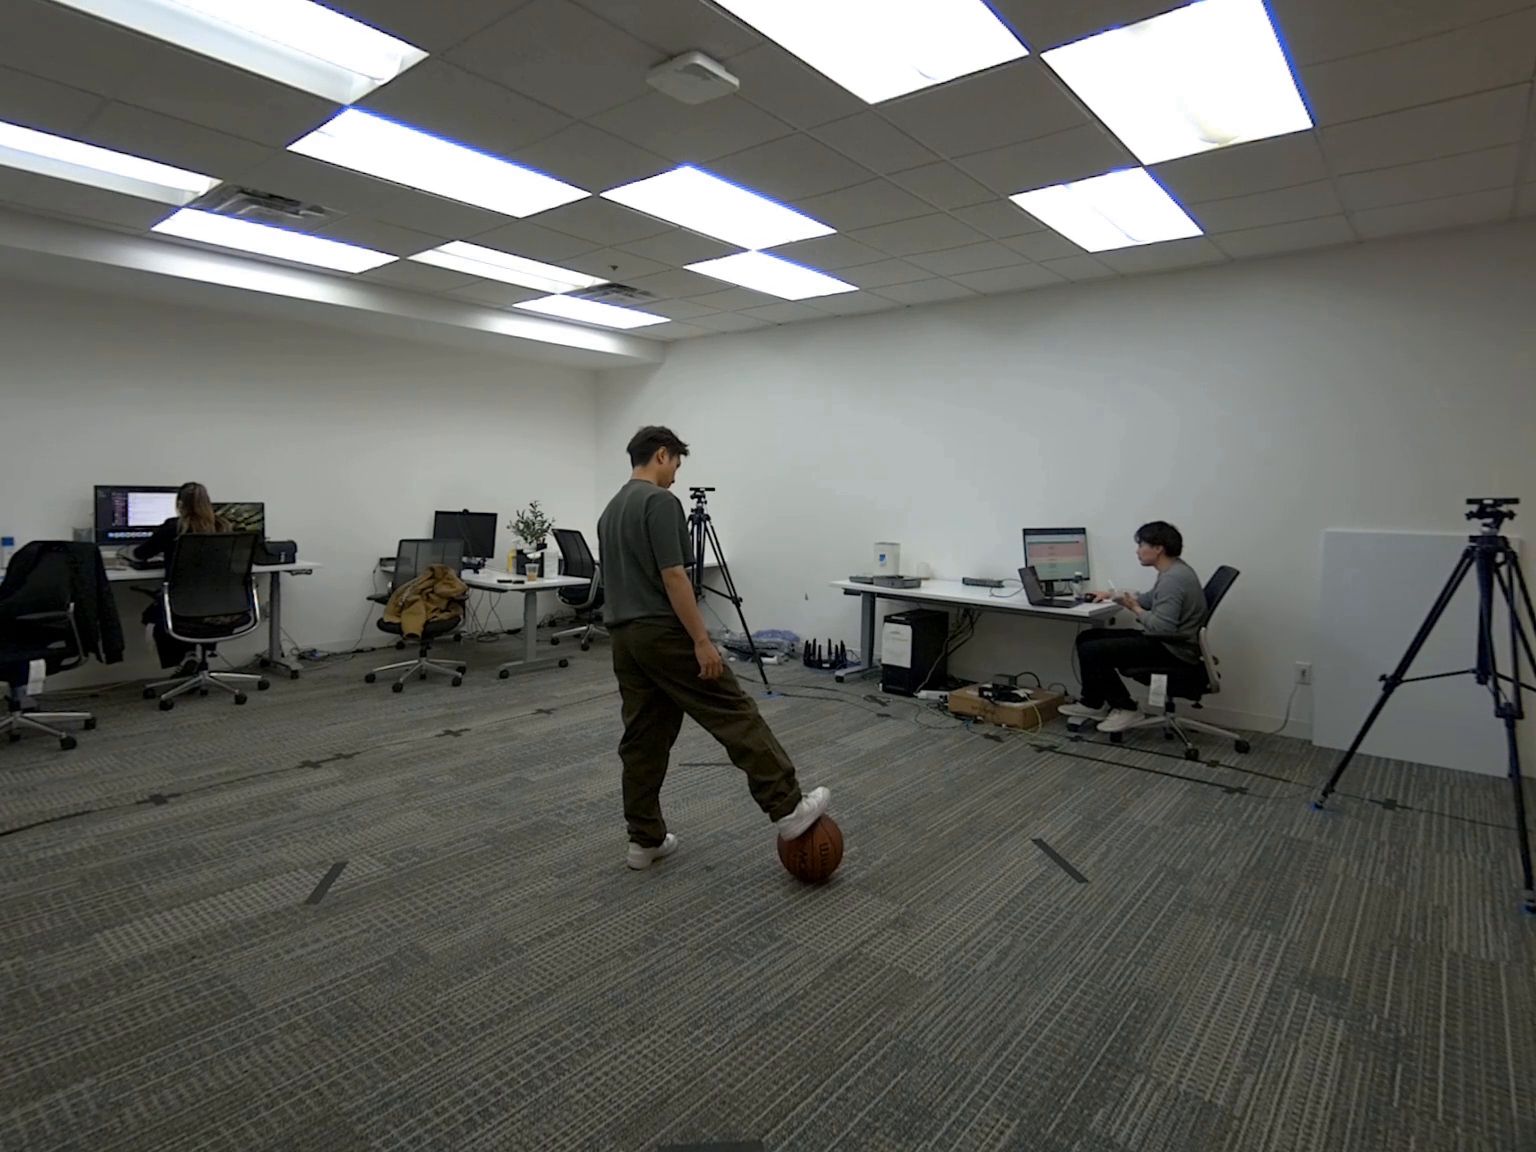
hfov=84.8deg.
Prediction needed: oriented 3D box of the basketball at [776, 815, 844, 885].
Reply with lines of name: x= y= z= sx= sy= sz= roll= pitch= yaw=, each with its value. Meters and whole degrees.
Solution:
basketball: x=0.147 y=0.960 z=3.051 sx=0.235 sy=0.235 sz=0.237 roll=1 pitch=4 yaw=-2
